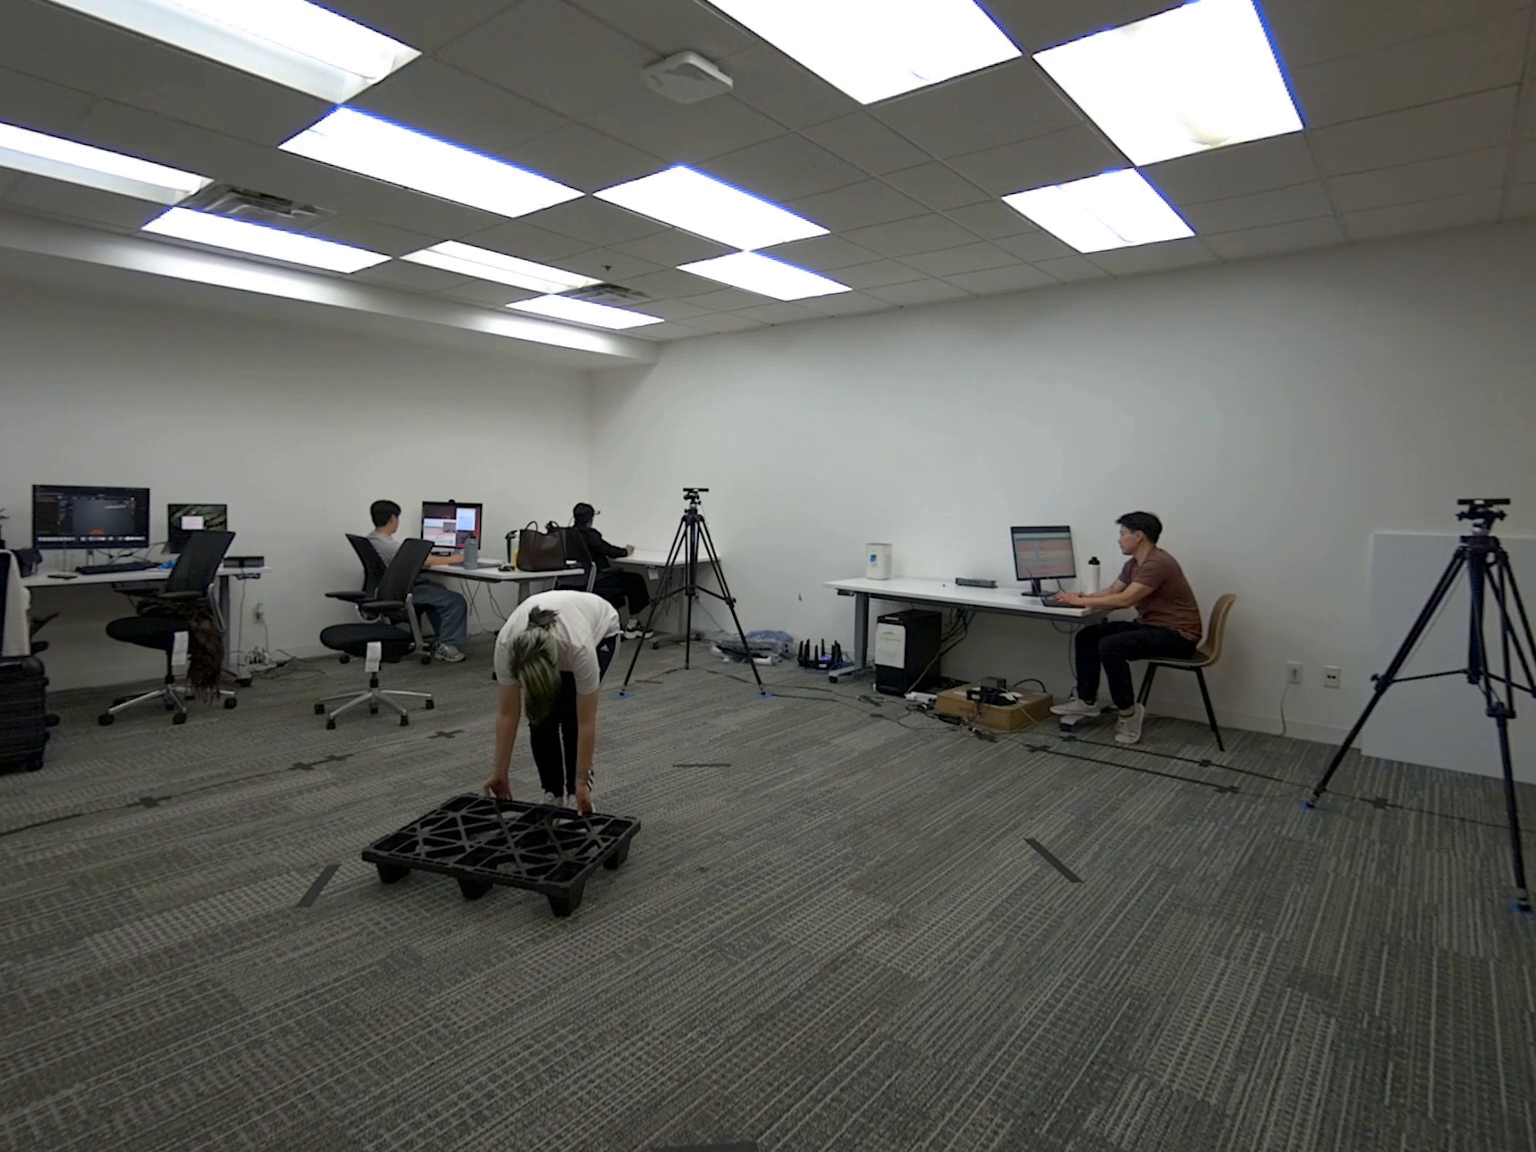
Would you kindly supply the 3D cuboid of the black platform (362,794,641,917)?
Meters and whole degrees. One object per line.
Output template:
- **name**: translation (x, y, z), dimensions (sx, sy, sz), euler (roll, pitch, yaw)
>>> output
- **black platform**: translation (-0.948, 0.992, 3.067), dimensions (0.821, 0.142, 0.597), euler (3, 7, 17)
